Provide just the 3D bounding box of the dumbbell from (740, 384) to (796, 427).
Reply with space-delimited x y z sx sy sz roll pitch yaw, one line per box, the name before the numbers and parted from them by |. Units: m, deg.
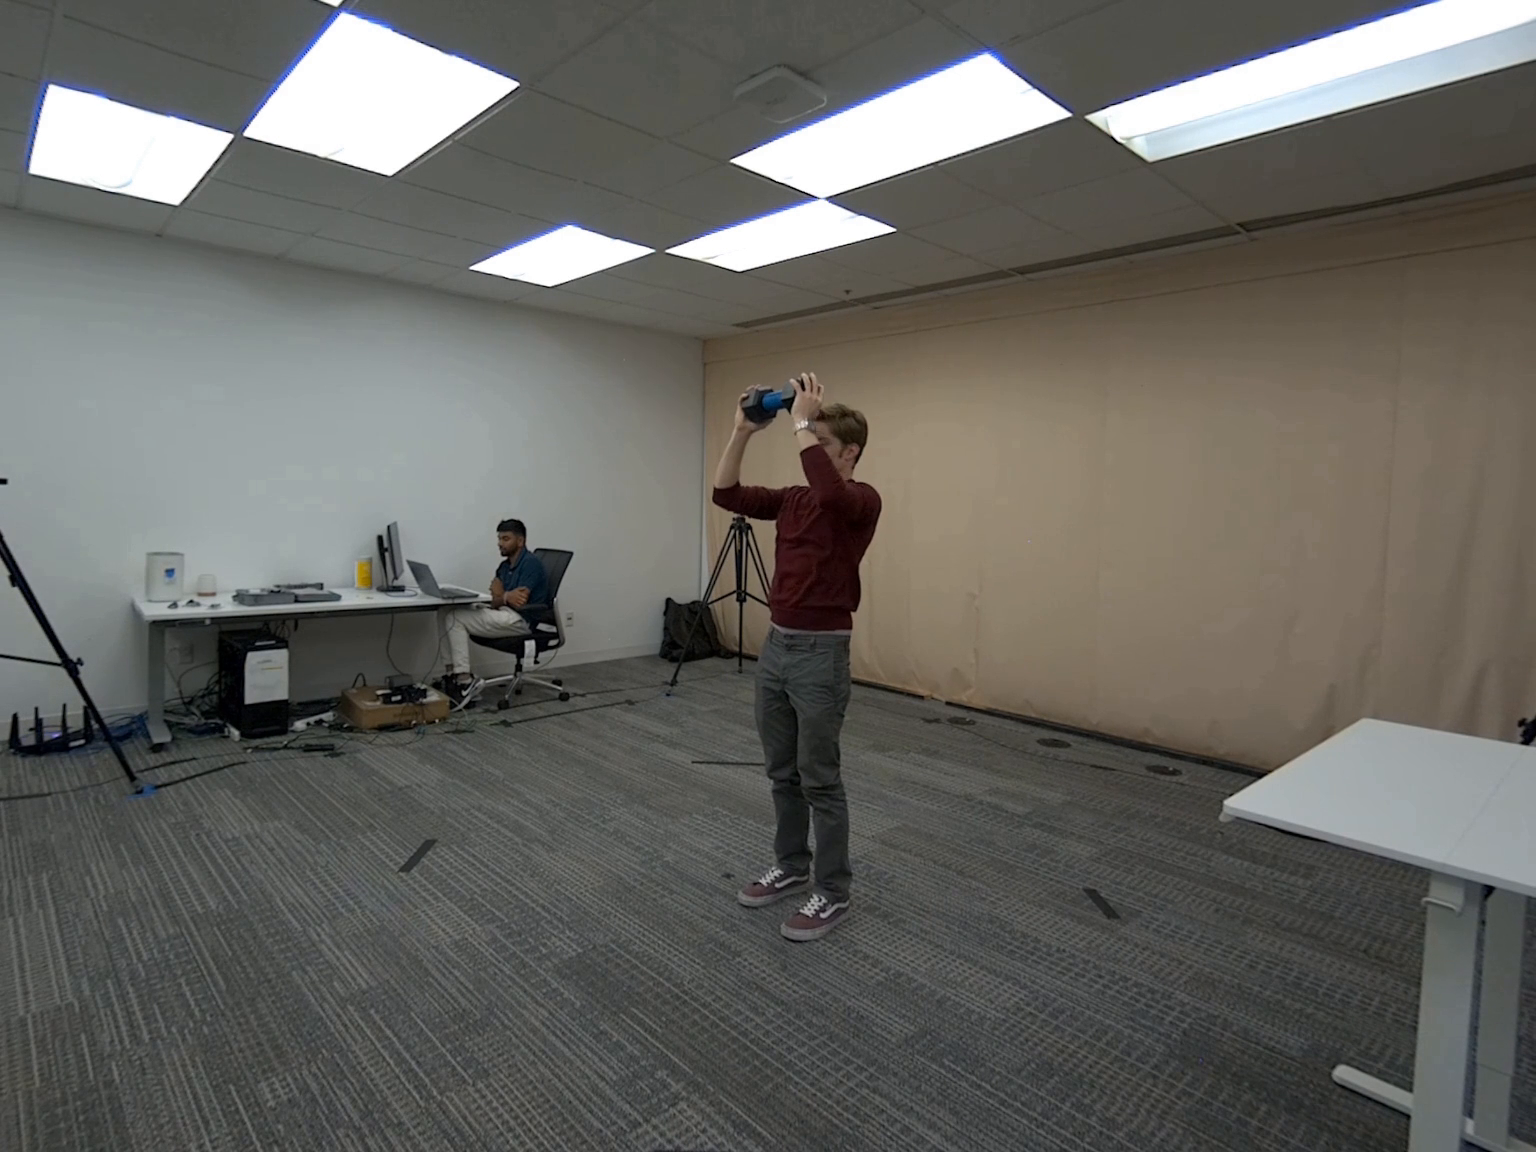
dumbbell | 0.040 -0.573 2.732 0.106 0.123 0.300 20 -11 -34
